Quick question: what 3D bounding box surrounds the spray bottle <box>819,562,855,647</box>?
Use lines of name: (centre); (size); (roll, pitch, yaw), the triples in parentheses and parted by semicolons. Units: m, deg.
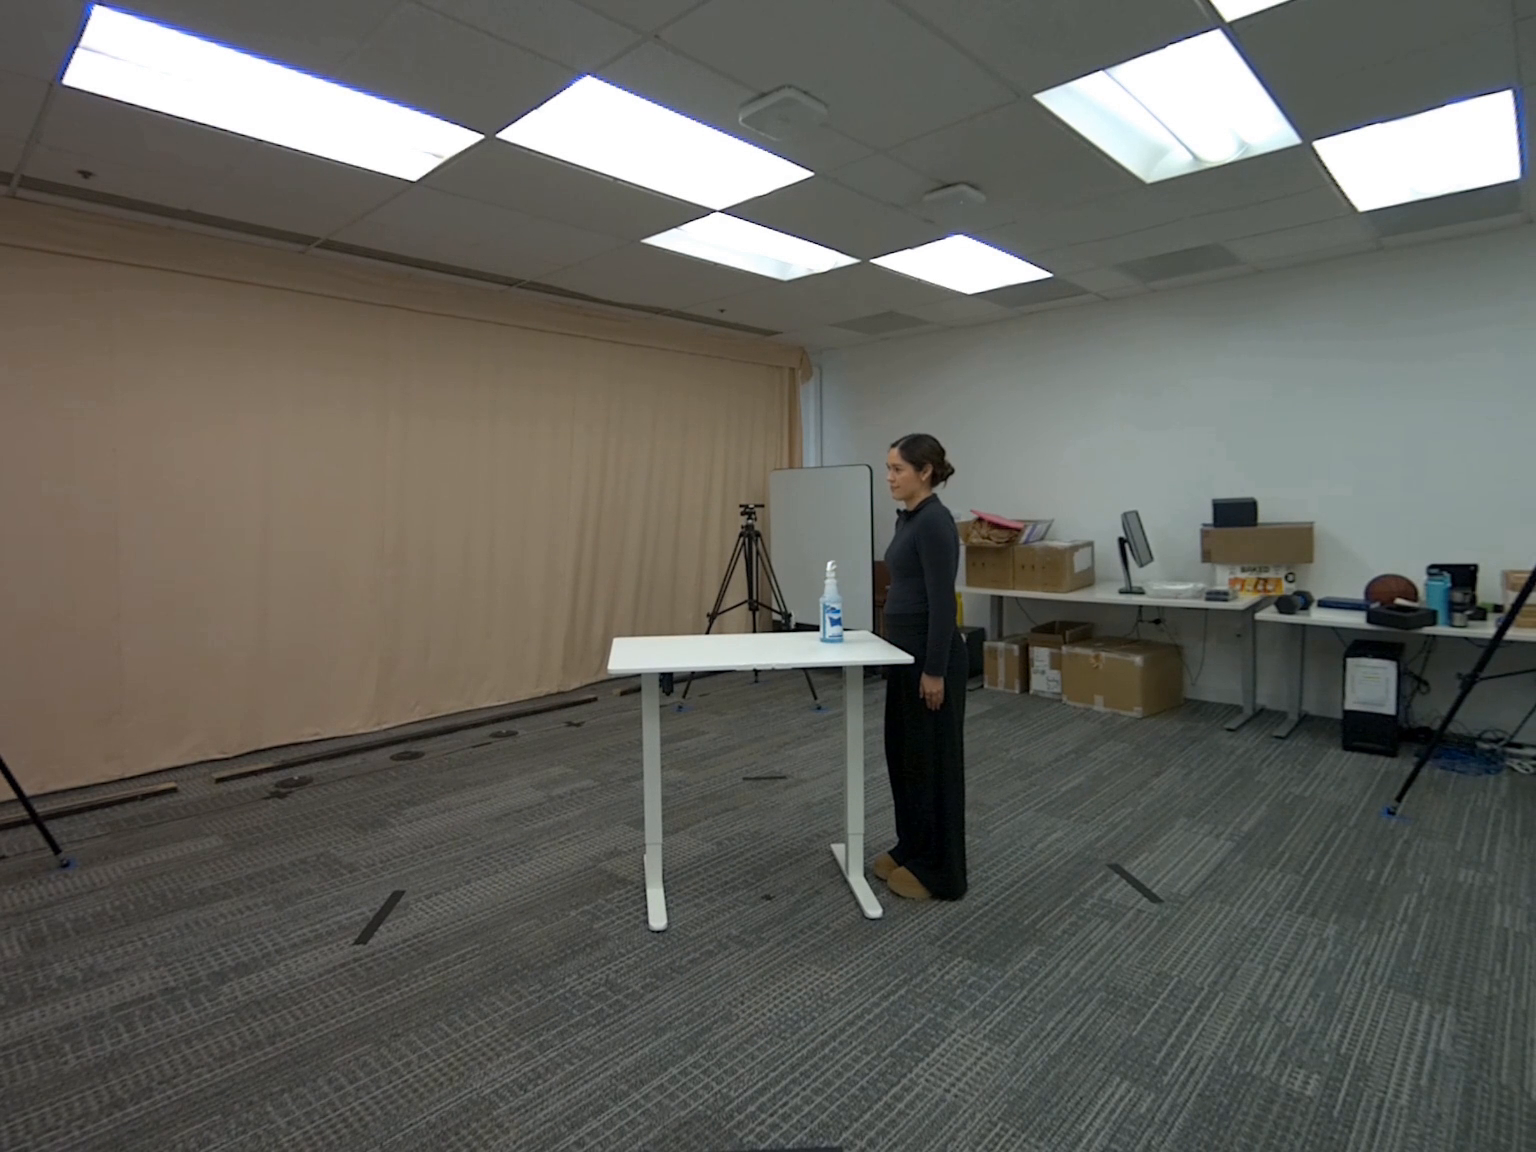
spray bottle: (0.253, 0.099, 3.109); (0.090, 0.297, 0.087); (2, 4, 44)
